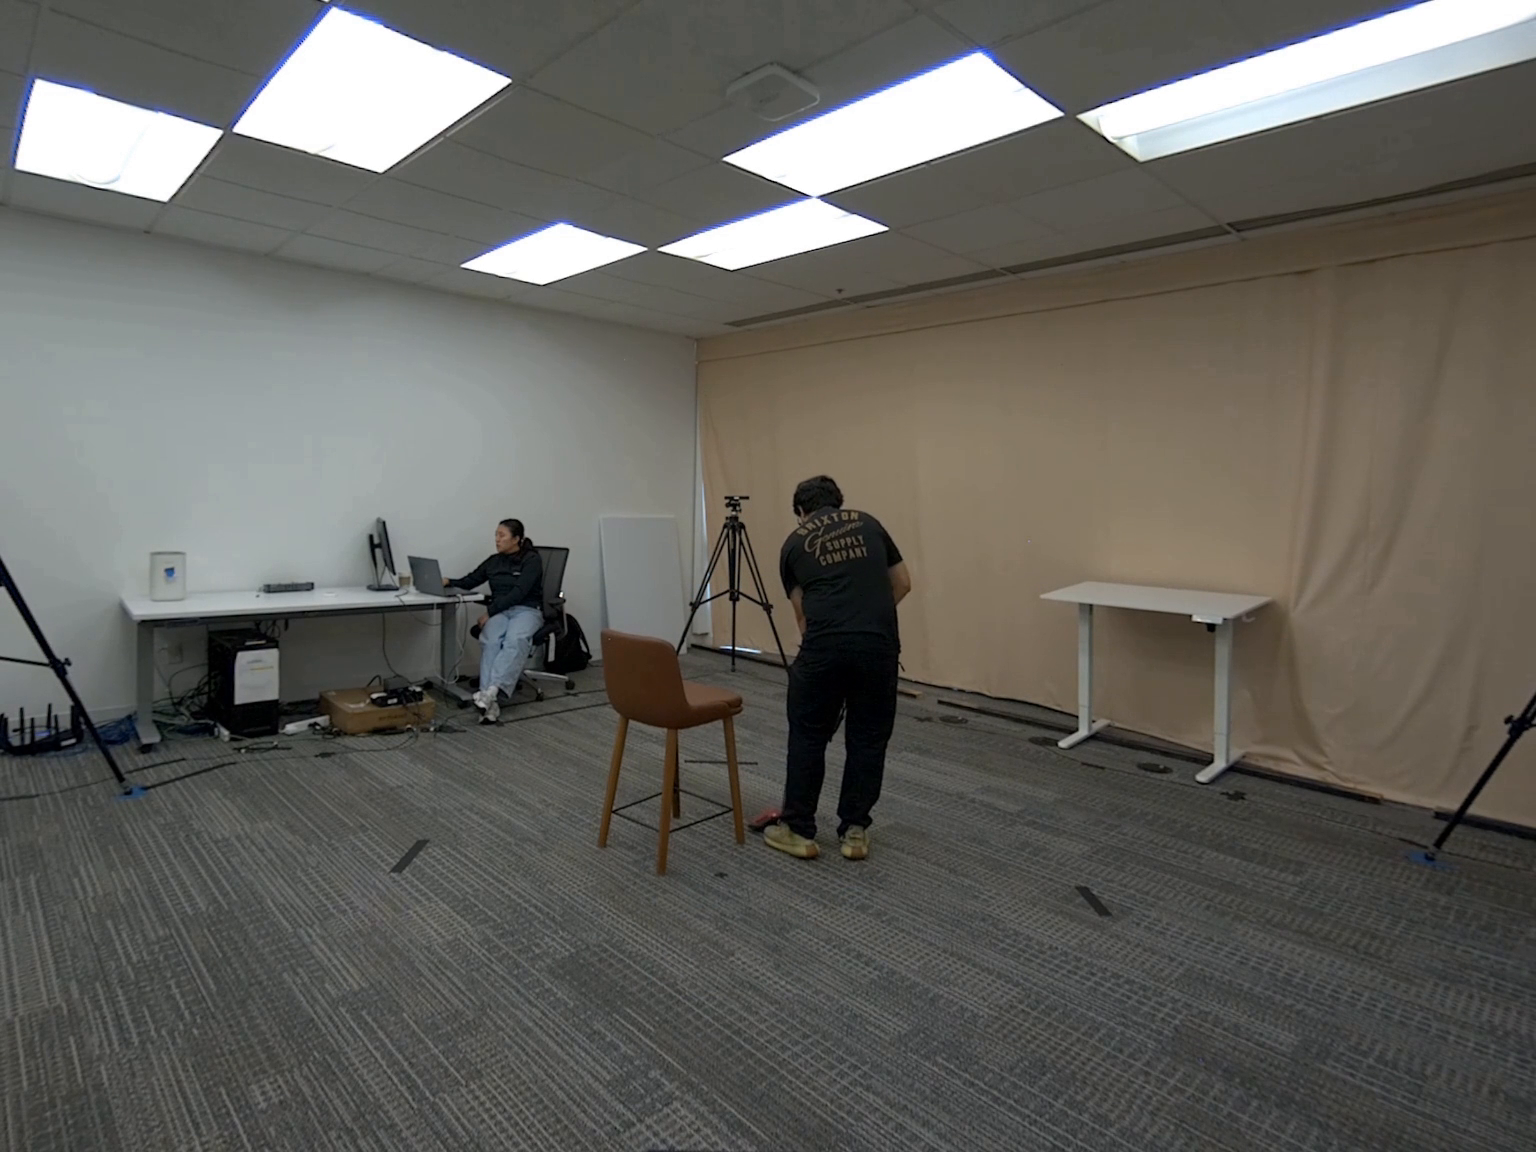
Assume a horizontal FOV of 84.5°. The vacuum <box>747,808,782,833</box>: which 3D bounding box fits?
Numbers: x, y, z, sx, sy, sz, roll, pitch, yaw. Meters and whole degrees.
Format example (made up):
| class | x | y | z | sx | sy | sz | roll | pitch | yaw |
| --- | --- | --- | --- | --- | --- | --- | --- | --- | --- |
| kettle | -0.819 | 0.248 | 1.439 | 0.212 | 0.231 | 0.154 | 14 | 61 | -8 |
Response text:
| class | x | y | z | sx | sy | sz | roll | pitch | yaw |
| --- | --- | --- | --- | --- | --- | --- | --- | --- | --- |
| vacuum | 0.223 | 0.596 | 3.531 | 0.147 | 1.045 | 0.248 | 27 | 10 | 22 |
